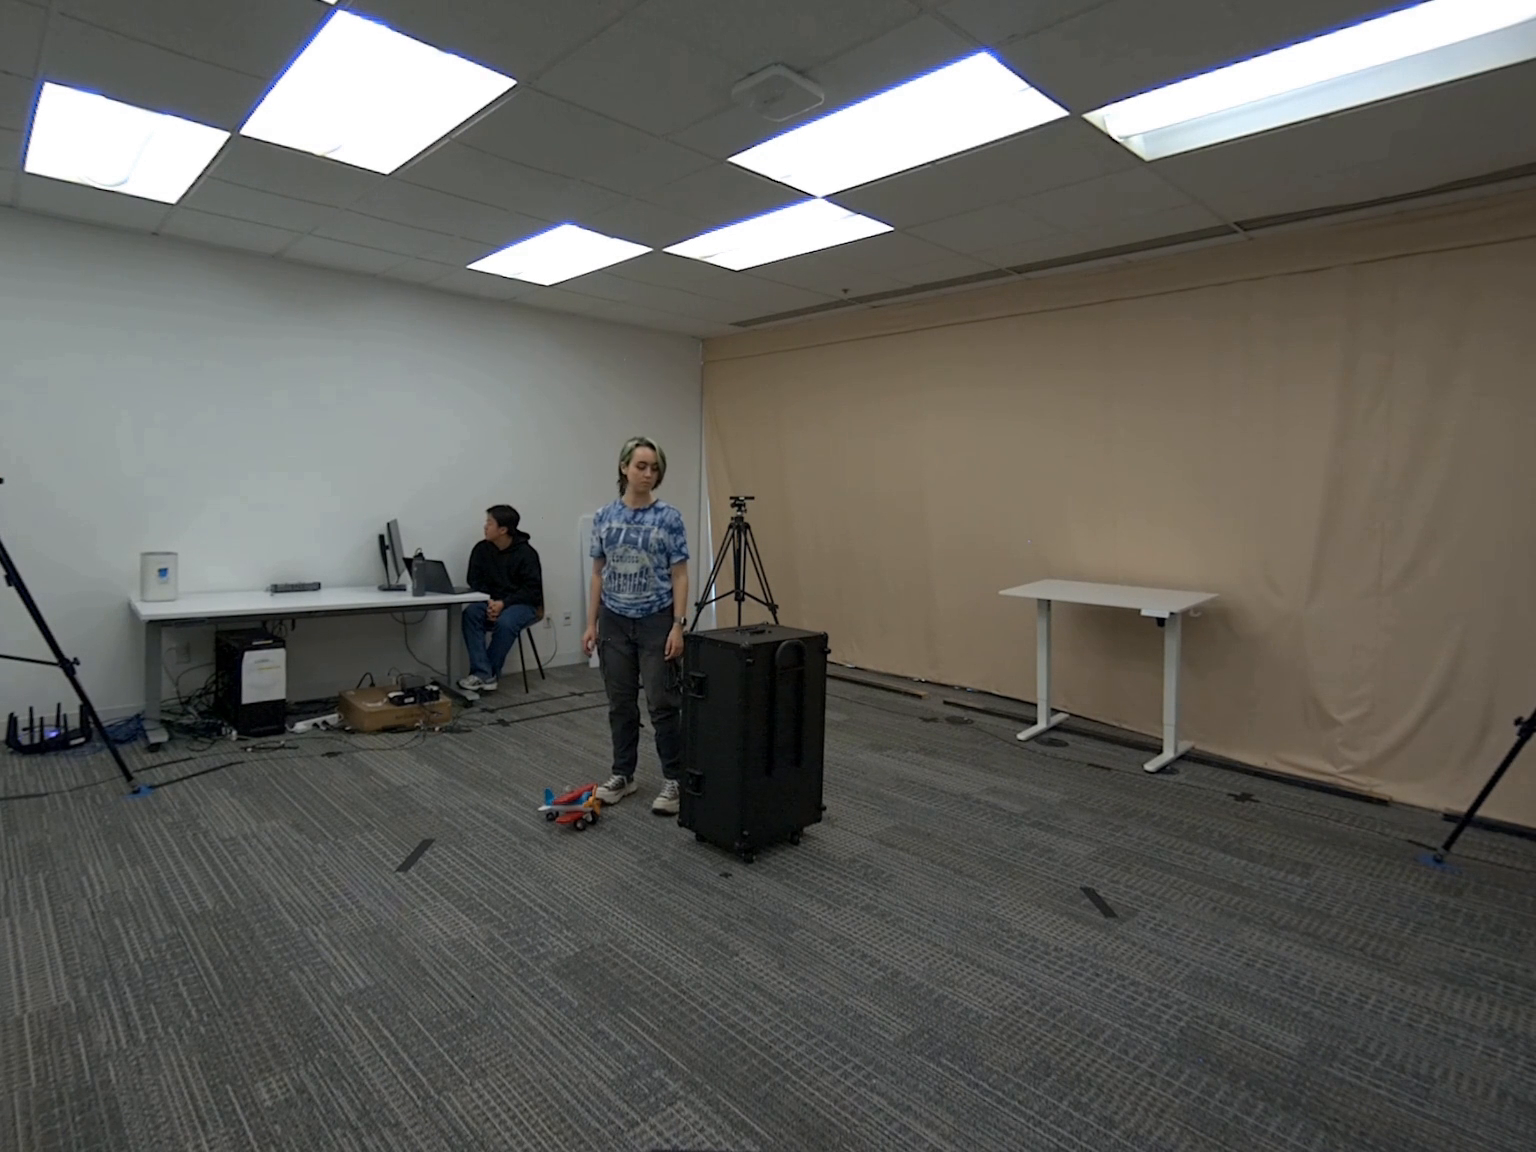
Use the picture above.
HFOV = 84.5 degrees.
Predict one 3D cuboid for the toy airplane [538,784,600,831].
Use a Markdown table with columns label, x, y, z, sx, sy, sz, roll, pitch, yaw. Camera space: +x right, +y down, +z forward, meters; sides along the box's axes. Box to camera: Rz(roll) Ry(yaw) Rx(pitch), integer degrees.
| label | x | y | z | sx | sy | sz | roll | pitch | yaw |
| --- | --- | --- | --- | --- | --- | --- | --- | --- | --- |
| toy airplane | -0.846 | 0.962 | 3.537 | 0.259 | 0.156 | 0.252 | 2 | 5 | -3 |
